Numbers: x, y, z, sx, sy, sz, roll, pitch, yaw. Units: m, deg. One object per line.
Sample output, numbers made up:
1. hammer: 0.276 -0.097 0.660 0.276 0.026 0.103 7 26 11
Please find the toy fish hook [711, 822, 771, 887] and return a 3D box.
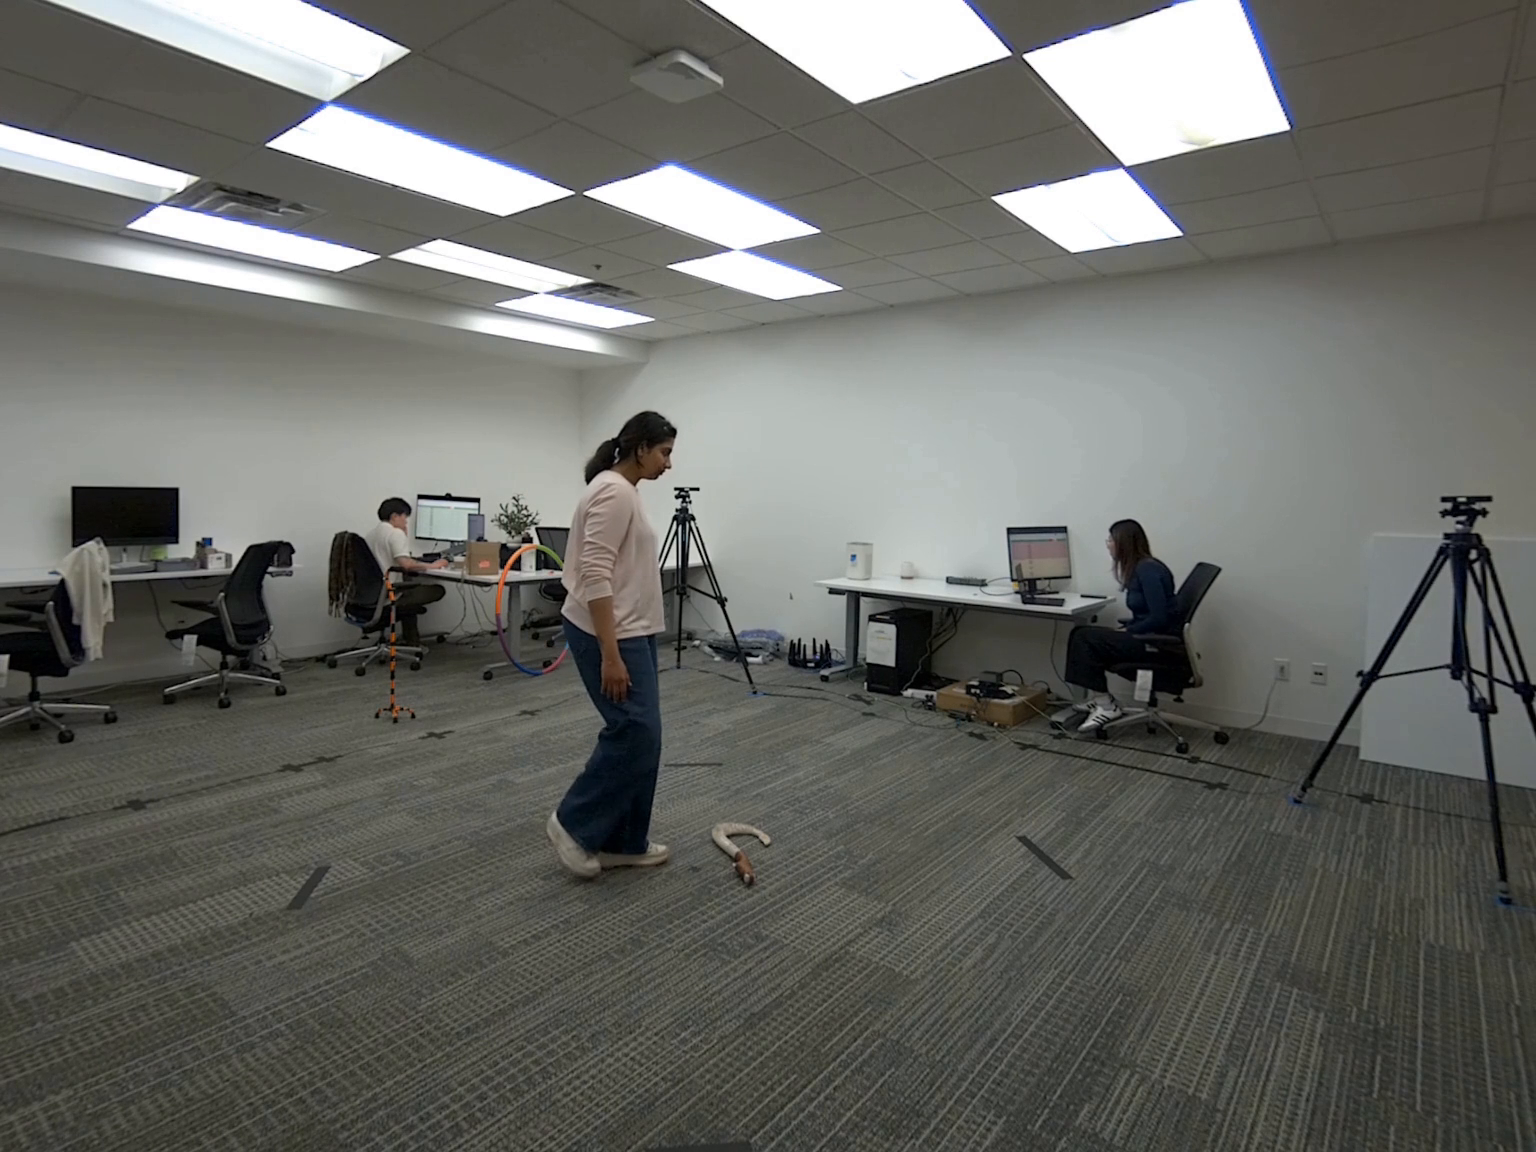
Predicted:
1. toy fish hook: -0.083 1.032 3.217 0.221 0.048 0.516 -2 6 -14
